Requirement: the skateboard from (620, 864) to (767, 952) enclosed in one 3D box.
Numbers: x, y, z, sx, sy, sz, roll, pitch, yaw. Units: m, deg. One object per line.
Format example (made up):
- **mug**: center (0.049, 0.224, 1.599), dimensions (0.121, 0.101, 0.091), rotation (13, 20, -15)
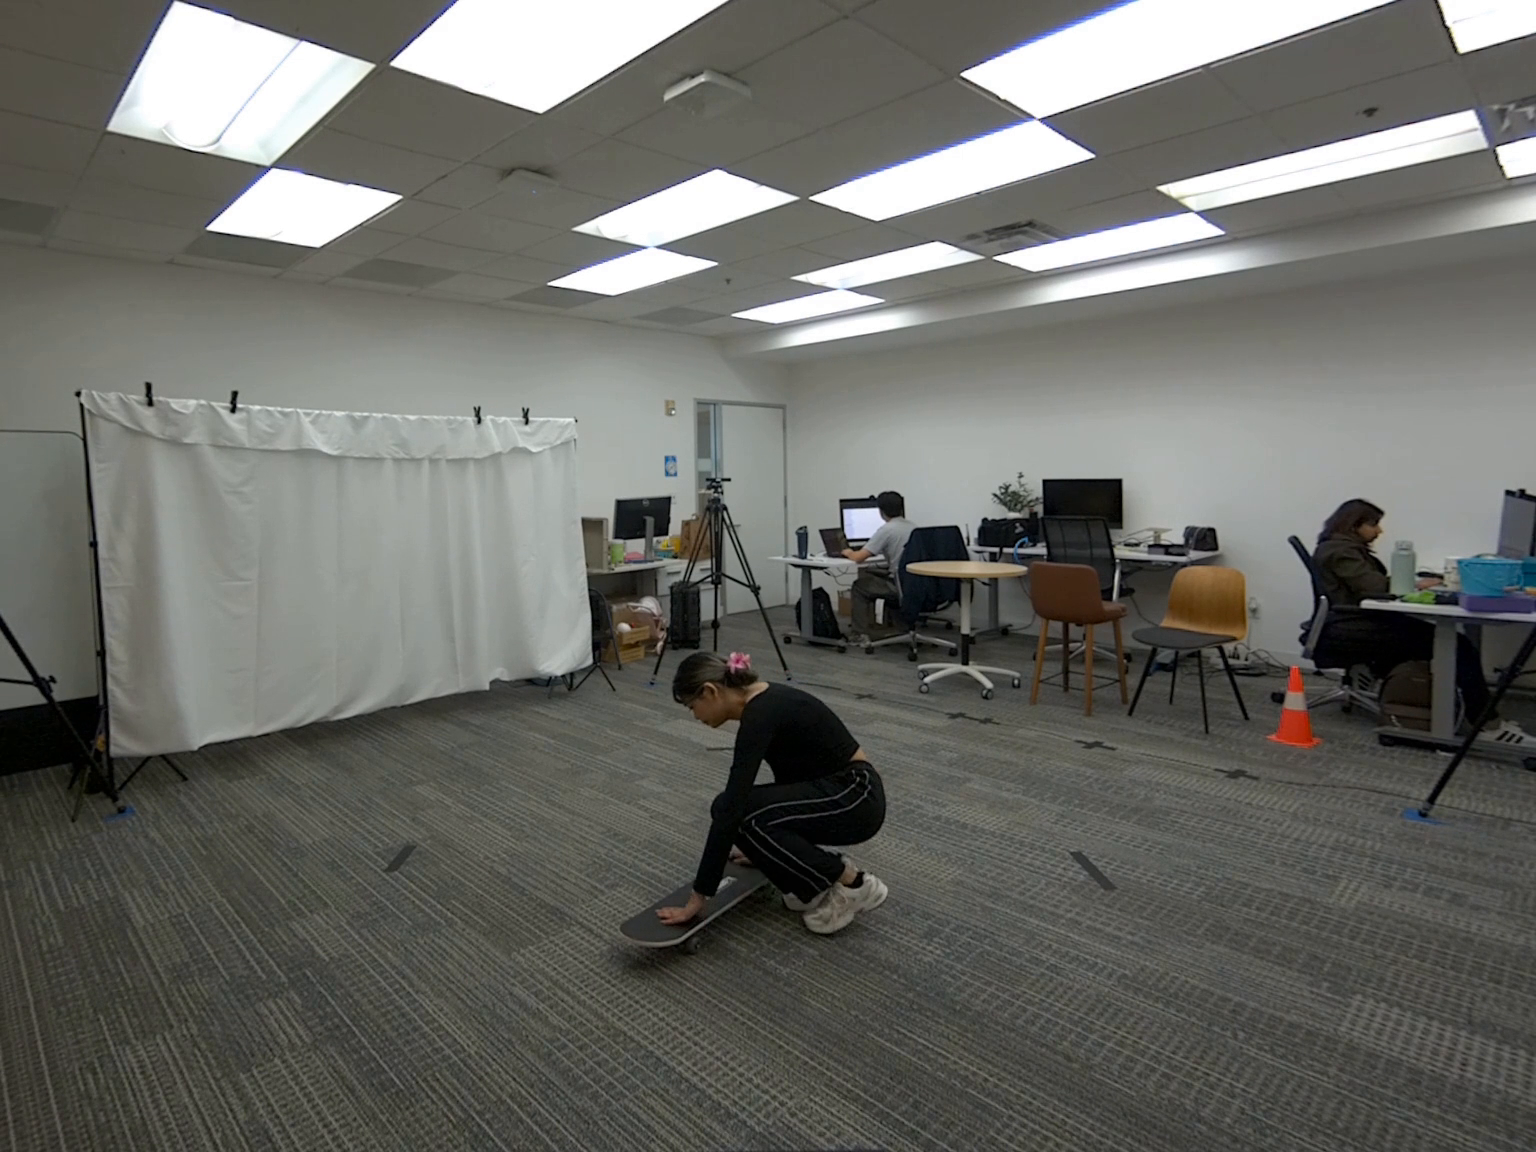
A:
- **skateboard**: center (-0.163, 1.030, 2.728), dimensions (0.199, 0.110, 0.767), rotation (3, 8, 35)
